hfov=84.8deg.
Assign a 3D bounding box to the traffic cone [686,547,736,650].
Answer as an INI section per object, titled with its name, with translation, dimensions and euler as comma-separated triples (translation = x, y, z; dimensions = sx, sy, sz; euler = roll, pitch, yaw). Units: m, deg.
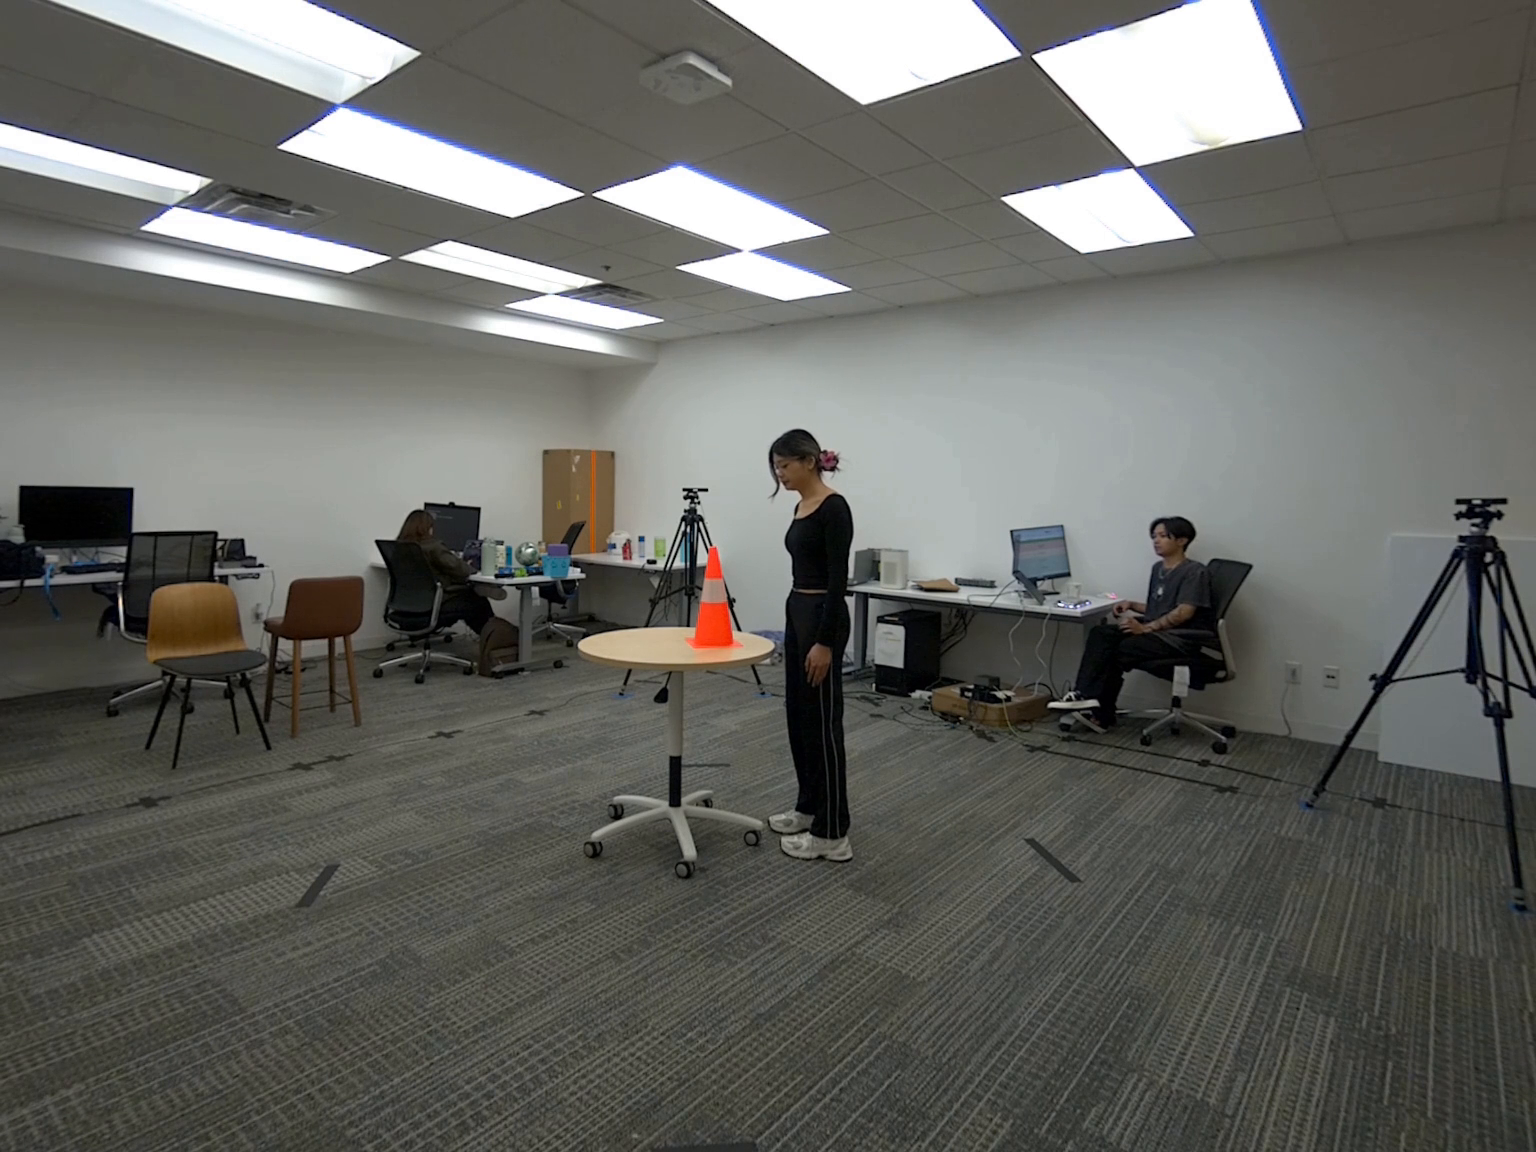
[traffic cone]
translation = -0.222, 0.074, 3.346
dimensions = 0.200, 0.383, 0.209
euler = 0, 3, -16
